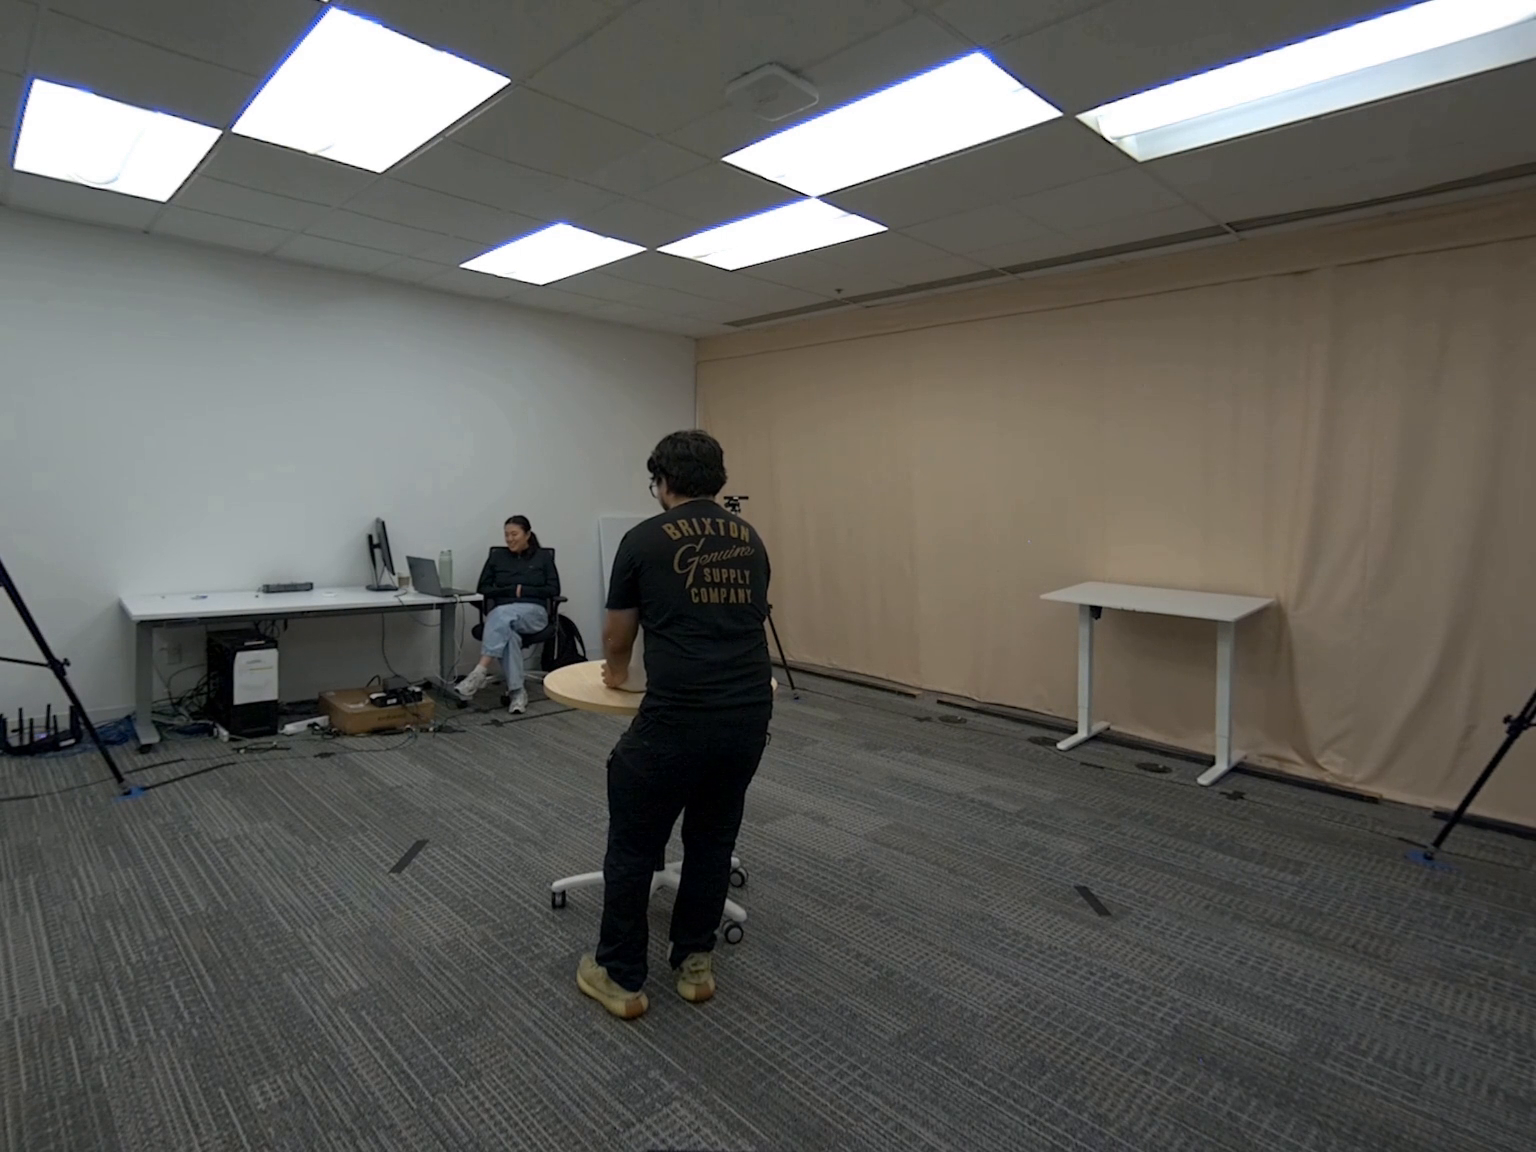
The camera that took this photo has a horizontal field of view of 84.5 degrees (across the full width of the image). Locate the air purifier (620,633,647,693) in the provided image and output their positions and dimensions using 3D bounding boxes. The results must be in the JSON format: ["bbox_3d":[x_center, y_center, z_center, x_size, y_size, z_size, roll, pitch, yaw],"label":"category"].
[{"bbox_3d":[-0.408,0.223,2.658,0.176,0.265,0.167,4,4,39],"label":"air purifier"}]
